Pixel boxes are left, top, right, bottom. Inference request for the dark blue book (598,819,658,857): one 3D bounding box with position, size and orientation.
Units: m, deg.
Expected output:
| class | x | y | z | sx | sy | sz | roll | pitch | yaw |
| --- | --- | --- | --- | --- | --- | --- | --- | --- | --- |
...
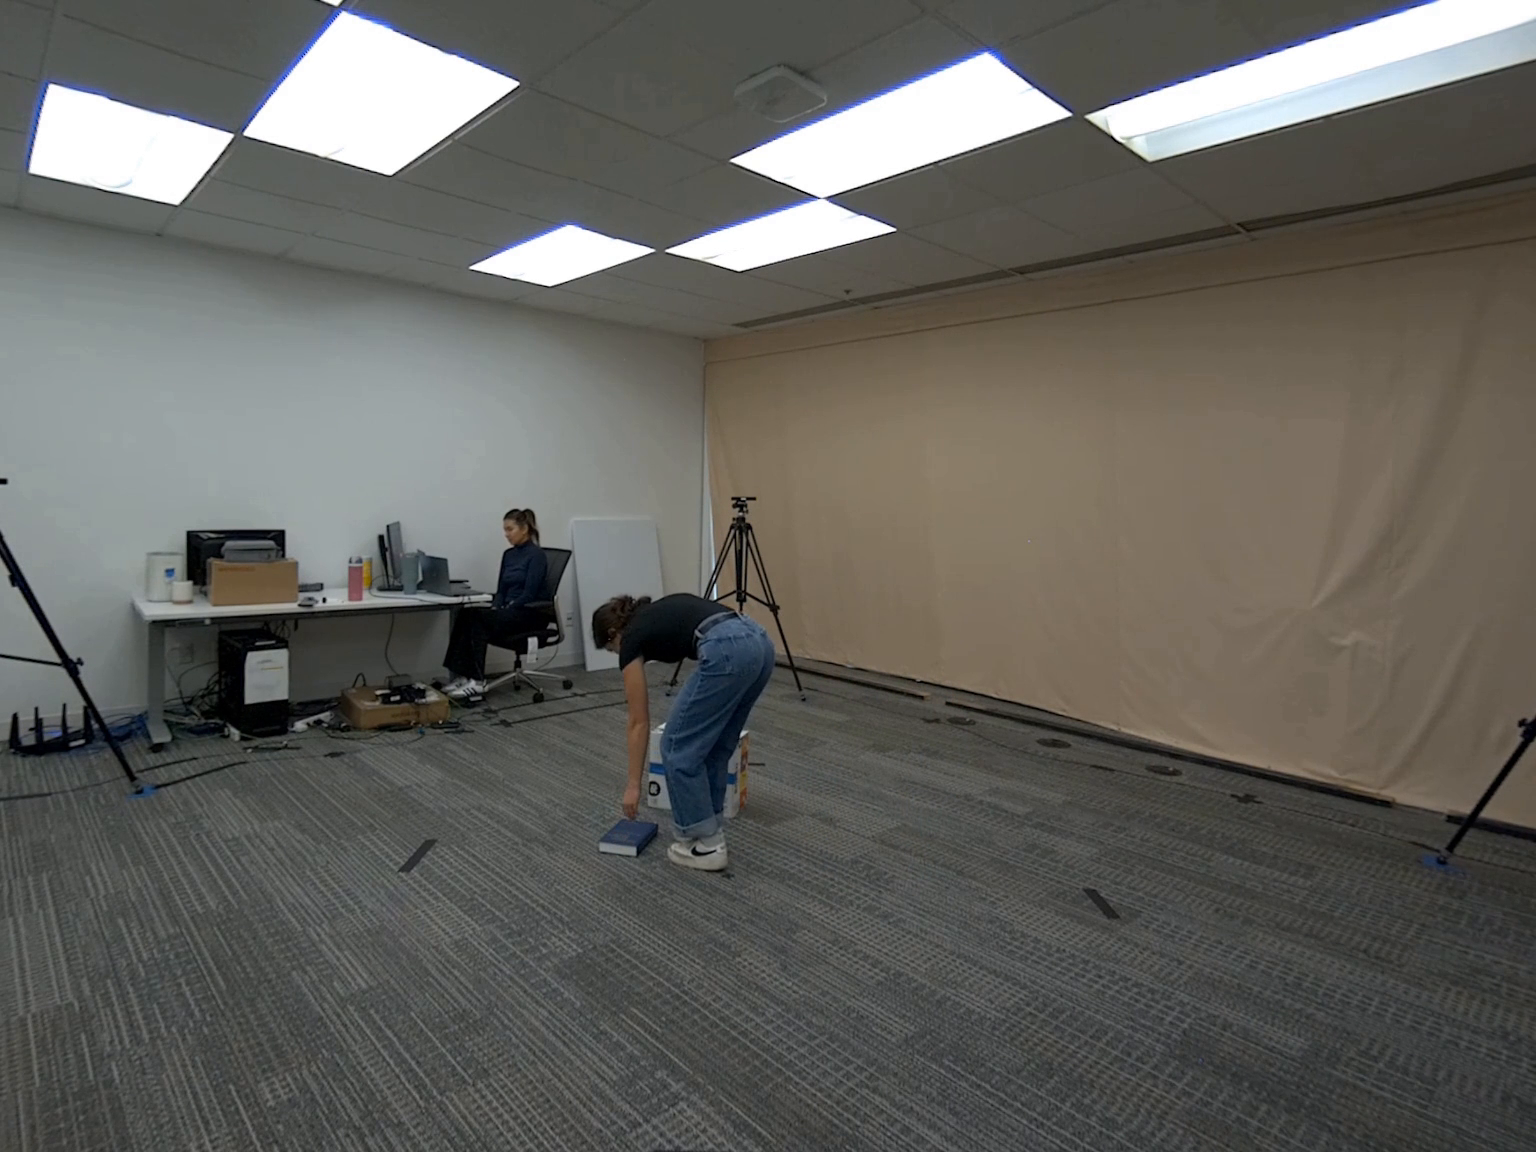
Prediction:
| class | x | y | z | sx | sy | sz | roll | pitch | yaw |
| --- | --- | --- | --- | --- | --- | --- | --- | --- | --- |
| dark blue book | -0.562 | 1.040 | 3.379 | 0.165 | 0.045 | 0.243 | 1 | 5 | 14 |
